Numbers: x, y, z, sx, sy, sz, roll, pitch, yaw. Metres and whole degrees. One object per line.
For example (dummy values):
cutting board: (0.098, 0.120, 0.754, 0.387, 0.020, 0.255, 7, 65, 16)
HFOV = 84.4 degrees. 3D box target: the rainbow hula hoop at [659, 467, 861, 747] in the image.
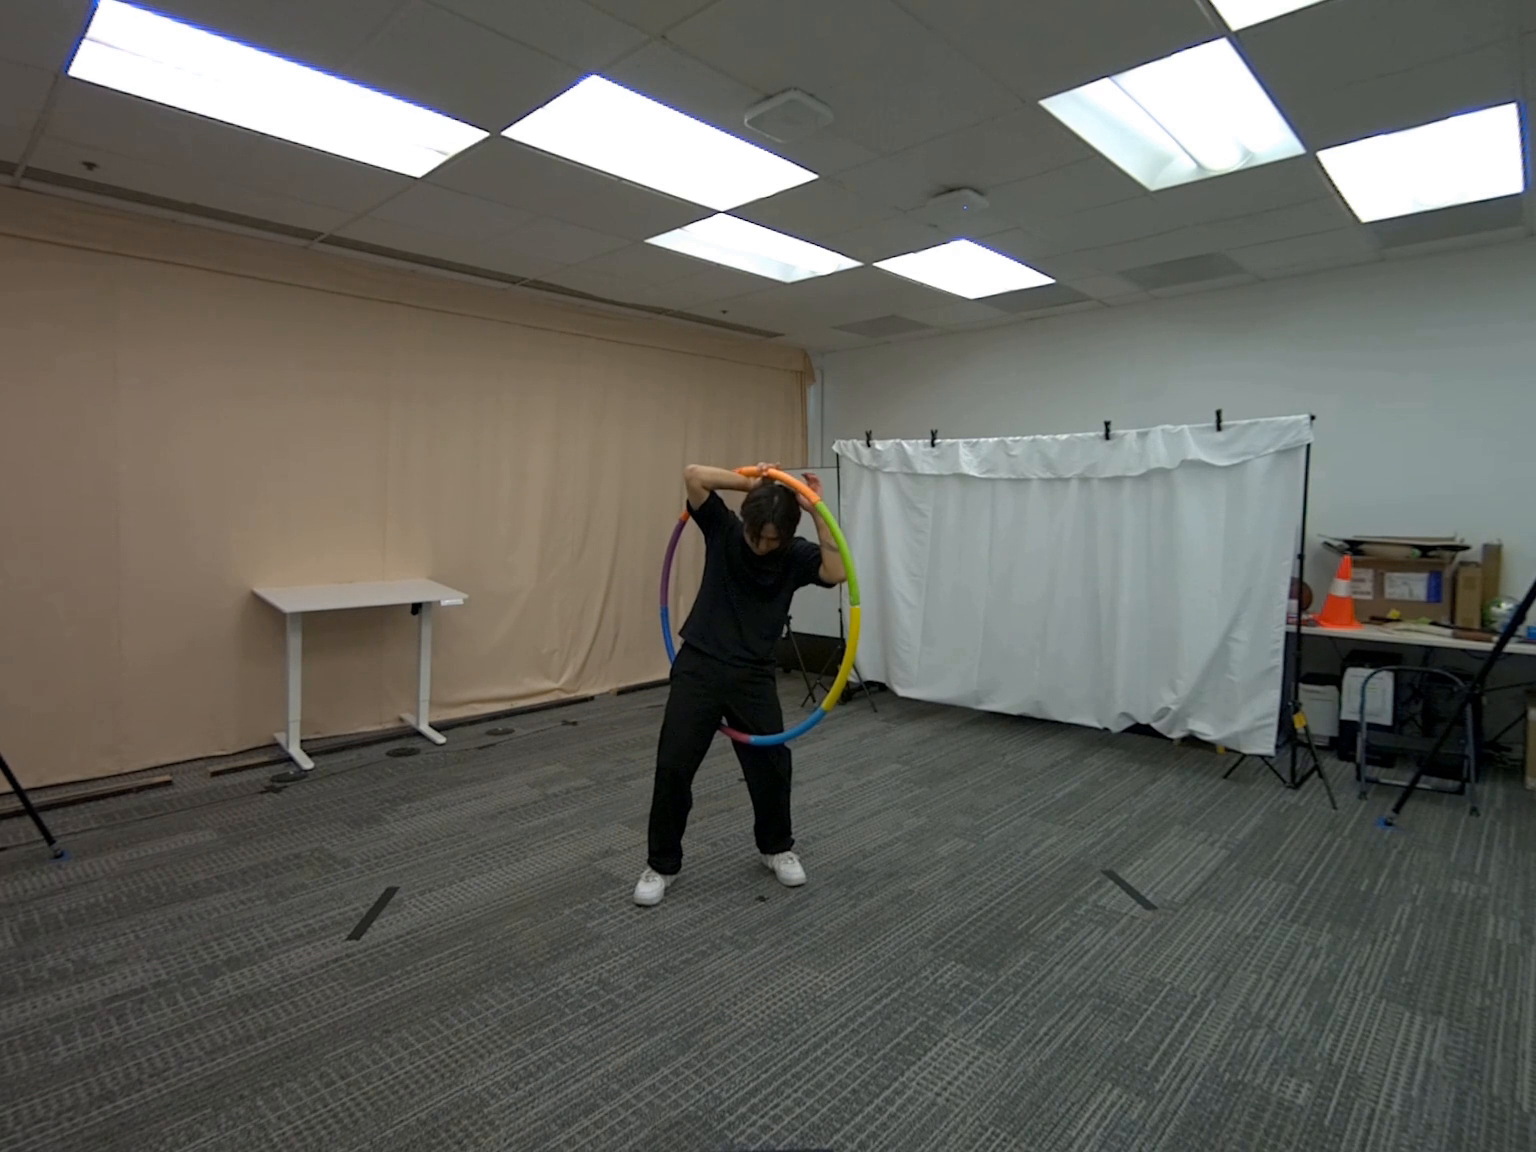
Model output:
rainbow hula hoop: (-0.059, 0.097, 3.047, 1.011, 0.978, 0.034, 4, 1, 44)
